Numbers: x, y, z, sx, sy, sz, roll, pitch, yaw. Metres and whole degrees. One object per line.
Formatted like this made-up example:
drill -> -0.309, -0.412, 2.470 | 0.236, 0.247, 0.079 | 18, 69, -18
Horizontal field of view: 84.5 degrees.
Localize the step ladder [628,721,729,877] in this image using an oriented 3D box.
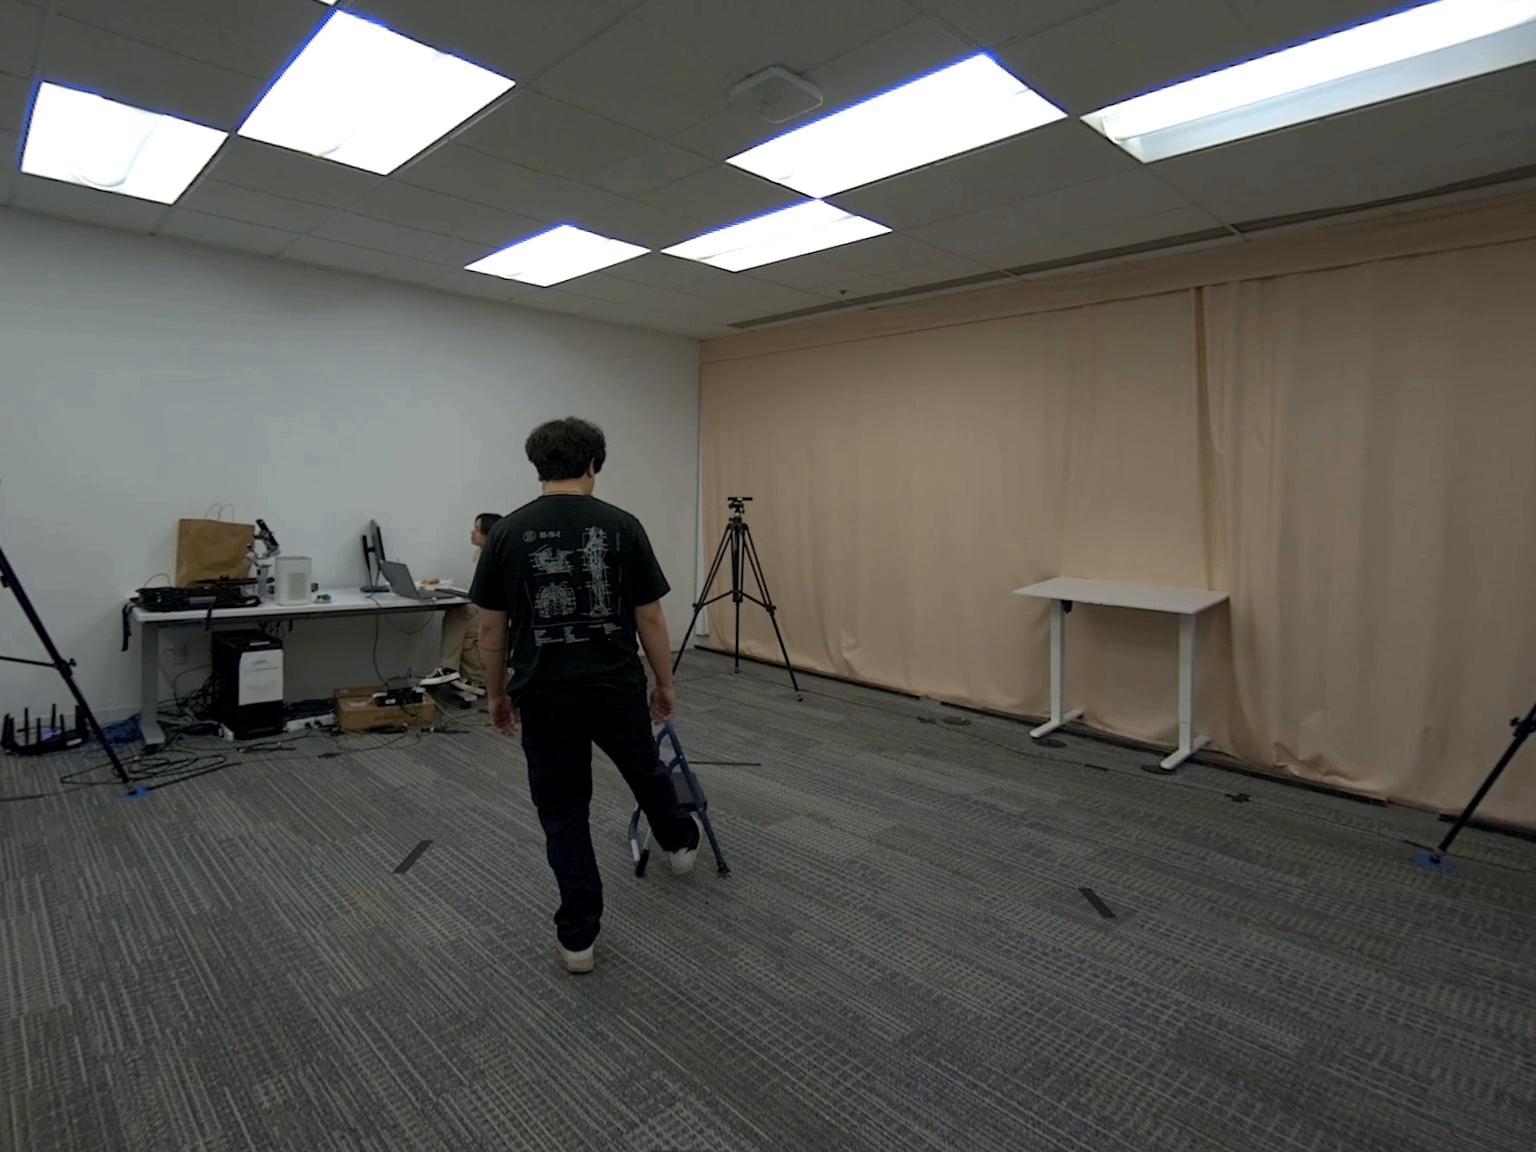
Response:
step ladder -> -0.362, 0.787, 3.293 | 0.346, 0.605, 0.436 | 1, 3, -13
